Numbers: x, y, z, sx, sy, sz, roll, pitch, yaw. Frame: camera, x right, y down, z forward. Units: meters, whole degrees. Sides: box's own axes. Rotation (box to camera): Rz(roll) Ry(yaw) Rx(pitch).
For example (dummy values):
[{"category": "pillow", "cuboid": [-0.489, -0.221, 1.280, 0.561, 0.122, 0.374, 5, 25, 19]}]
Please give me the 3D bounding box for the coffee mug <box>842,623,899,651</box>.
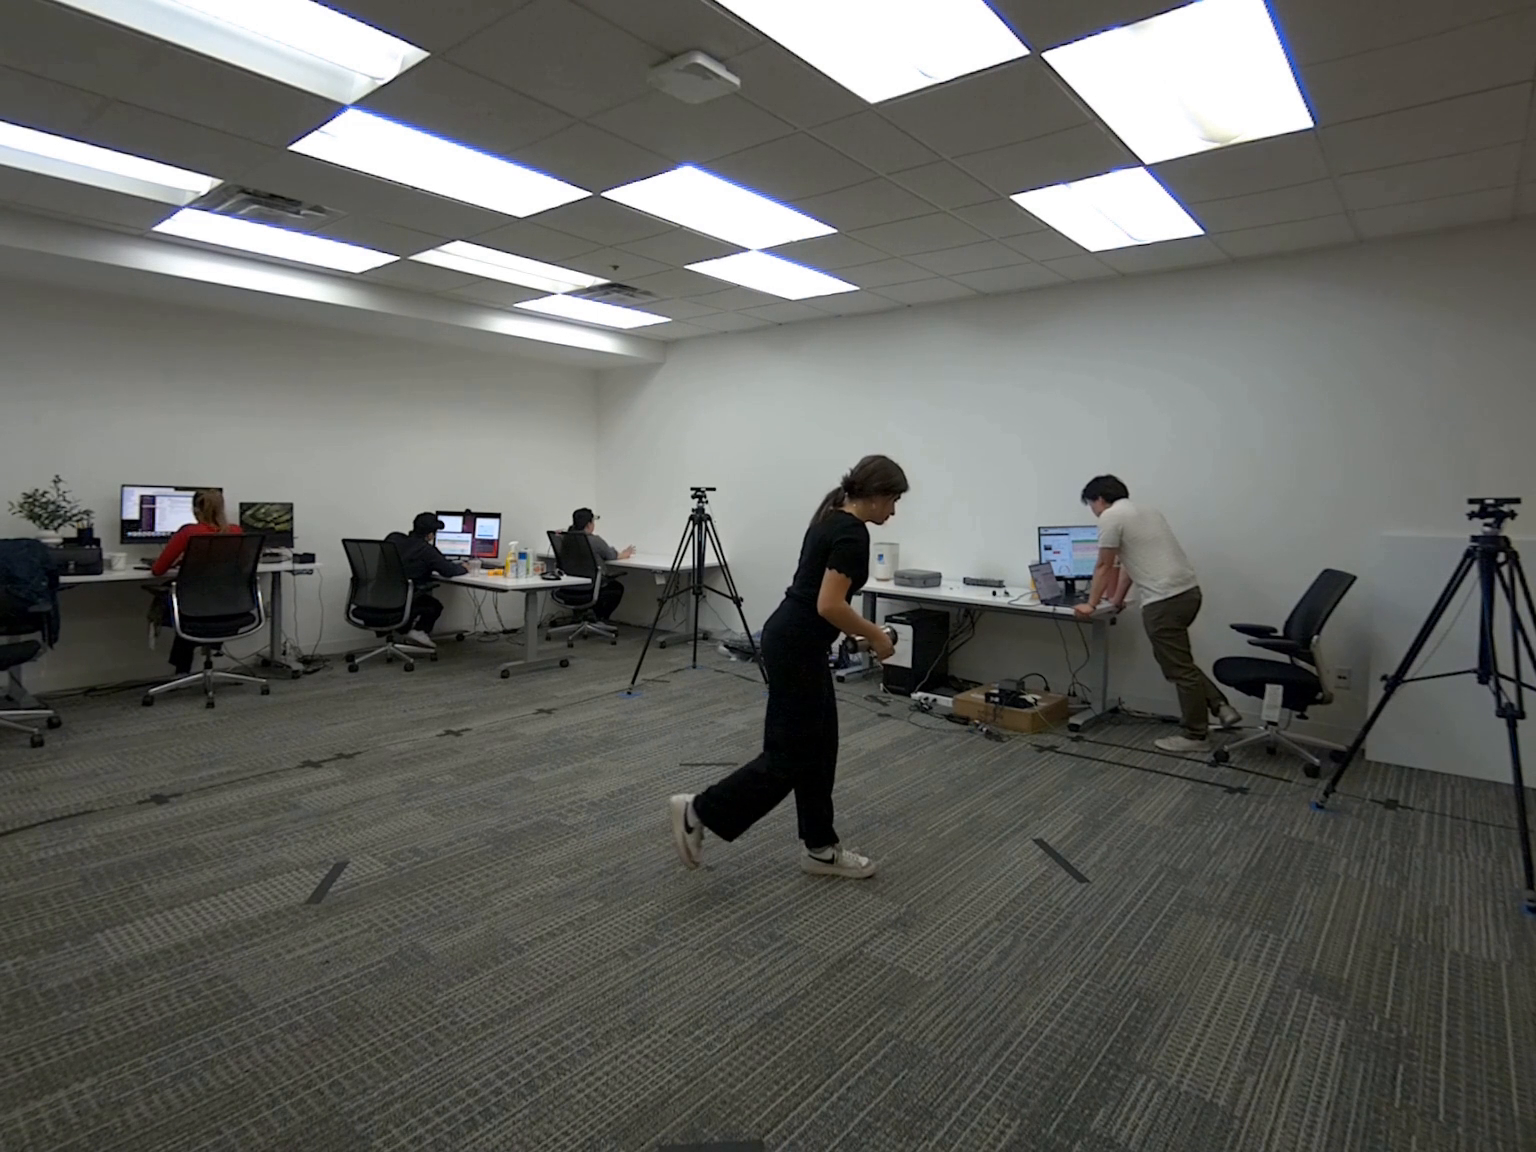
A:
[{"category": "coffee mug", "cuboid": [0.396, 0.261, 3.250, 0.198, 0.086, 0.127, -11, 43, -33]}]
